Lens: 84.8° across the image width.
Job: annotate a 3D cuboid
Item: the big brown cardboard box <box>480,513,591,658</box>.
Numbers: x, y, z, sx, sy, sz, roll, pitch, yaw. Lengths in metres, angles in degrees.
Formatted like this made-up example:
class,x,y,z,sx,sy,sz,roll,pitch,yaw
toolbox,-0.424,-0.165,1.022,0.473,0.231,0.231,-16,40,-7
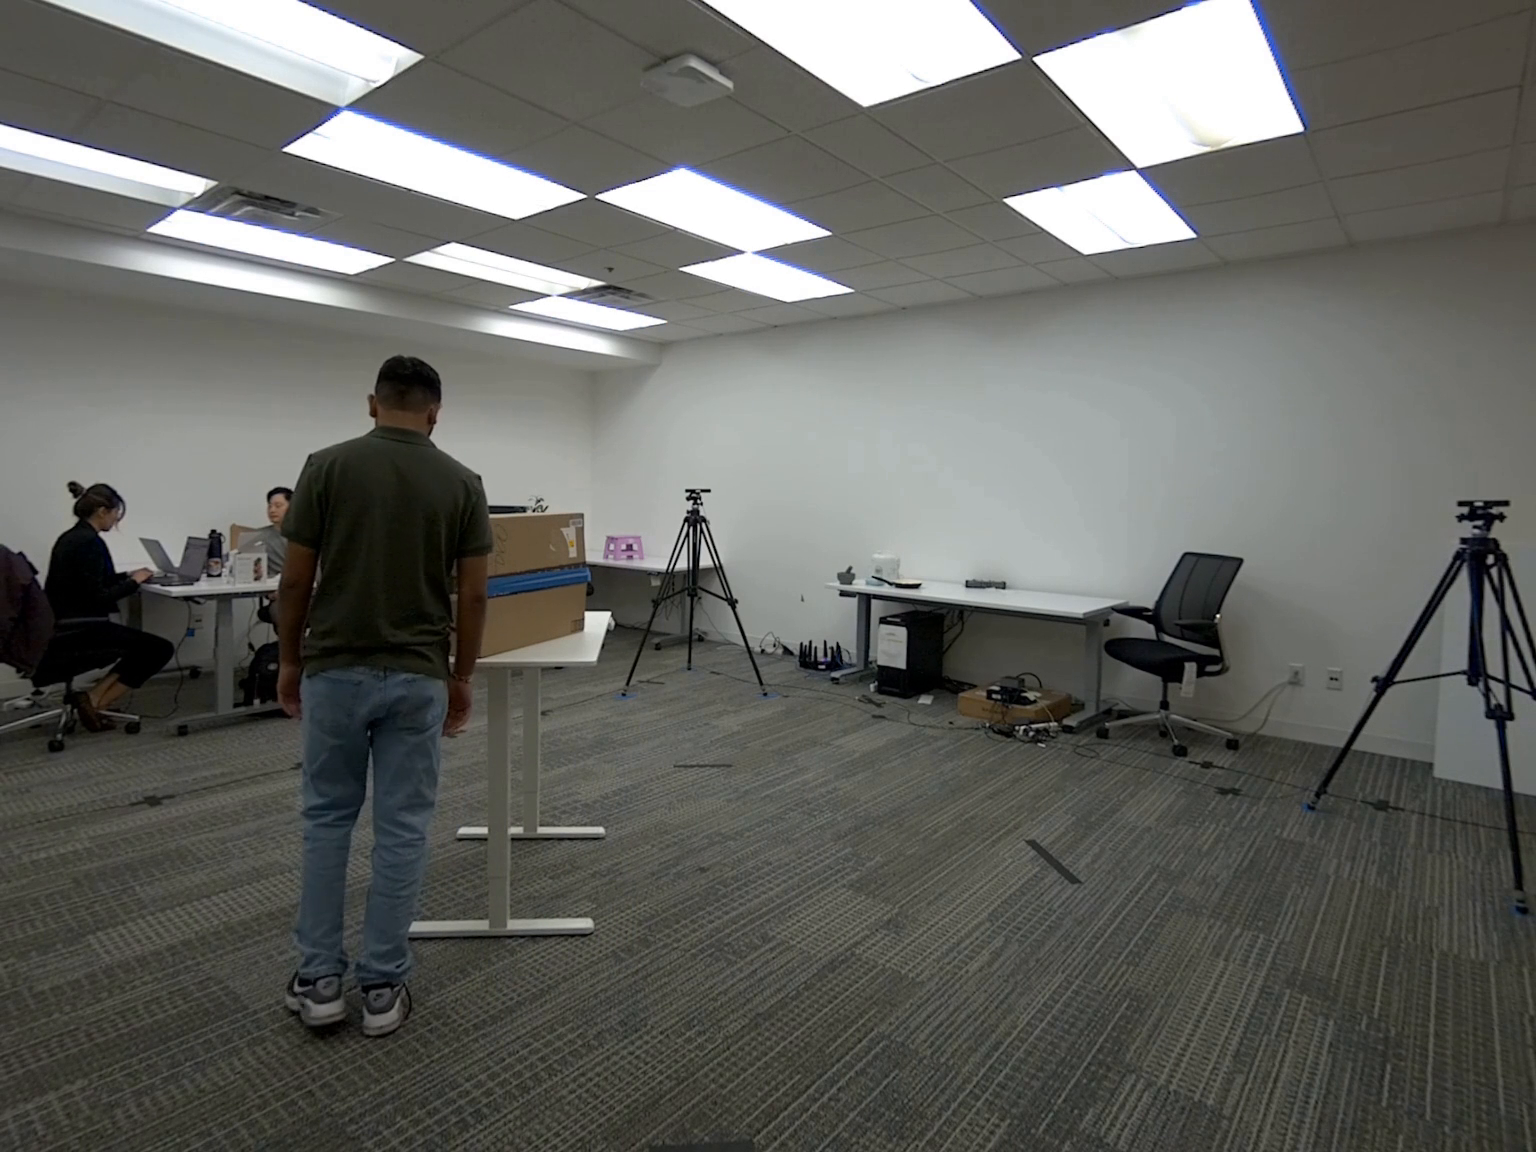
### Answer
class,x,y,z,sx,sy,sz,roll,pitch,yaw
big brown cardboard box,-0.856,0.007,2.795,0.239,0.416,0.577,1,5,22
